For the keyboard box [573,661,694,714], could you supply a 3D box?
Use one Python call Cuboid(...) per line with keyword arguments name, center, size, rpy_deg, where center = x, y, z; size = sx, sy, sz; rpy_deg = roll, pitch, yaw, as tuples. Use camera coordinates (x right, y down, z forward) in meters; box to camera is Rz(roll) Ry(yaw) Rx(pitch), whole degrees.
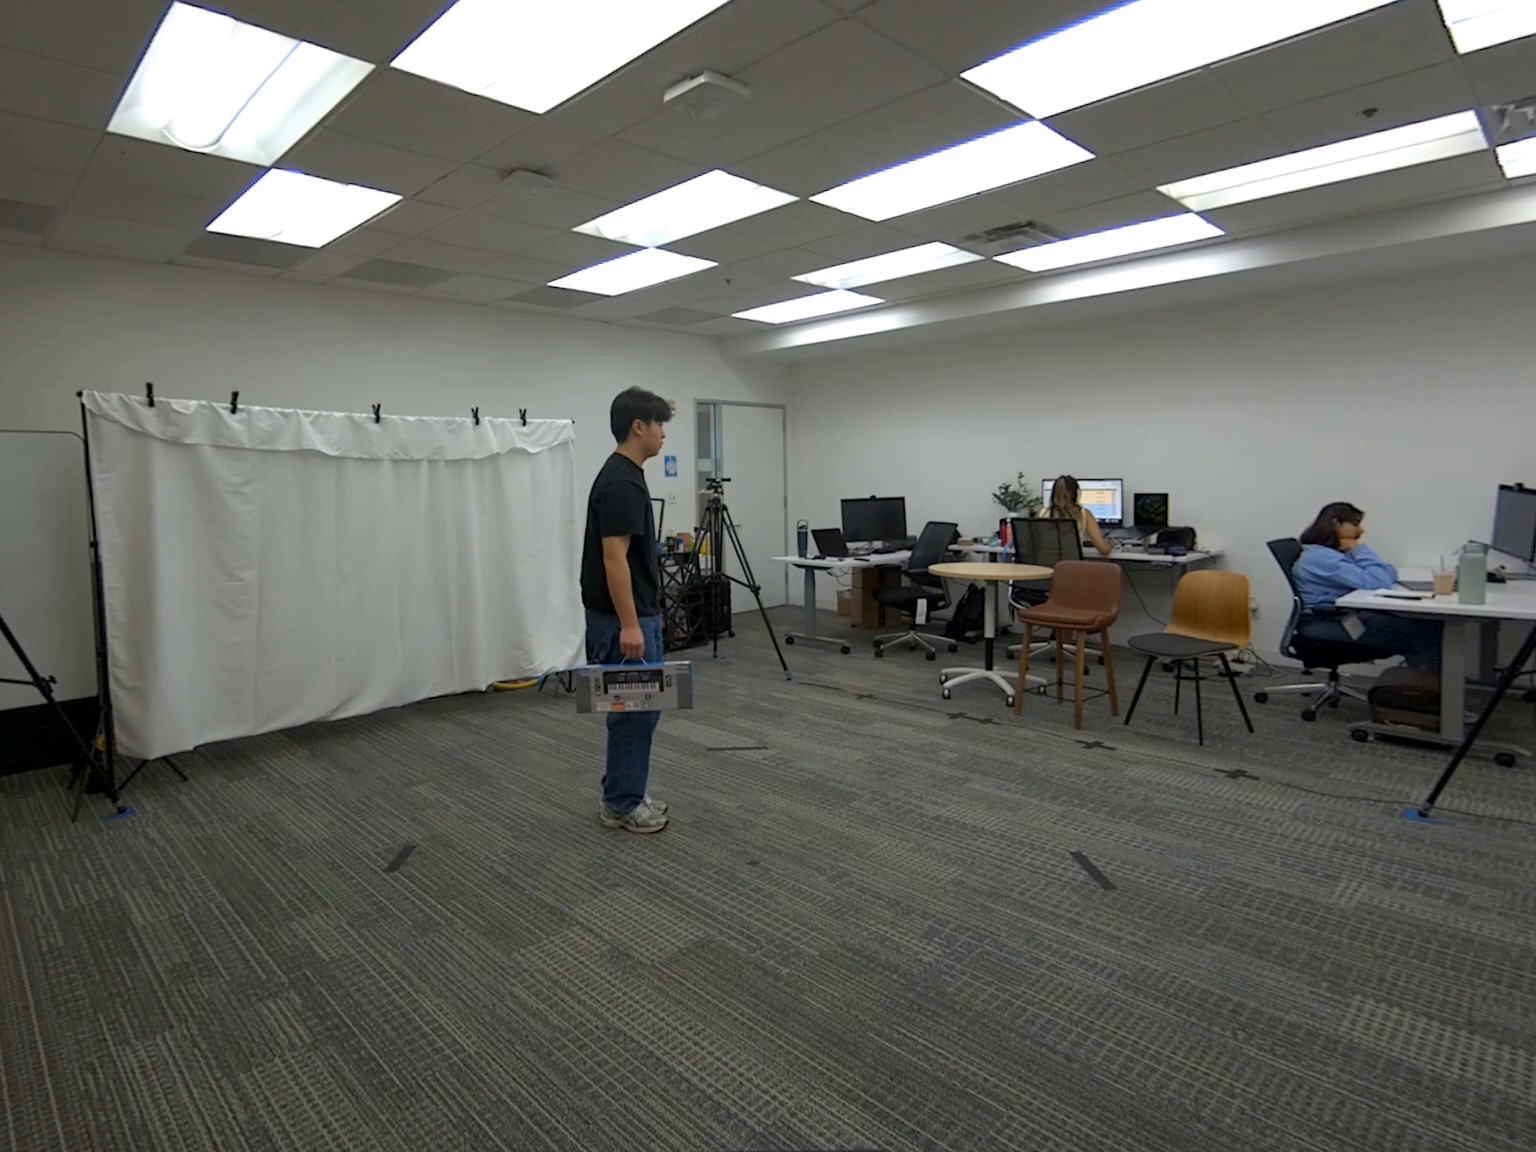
Cuboid(name="keyboard box", center=(-0.501, 0.411, 3.207), size=(0.437, 0.175, 0.059), rpy_deg=(-3, 3, 1))
